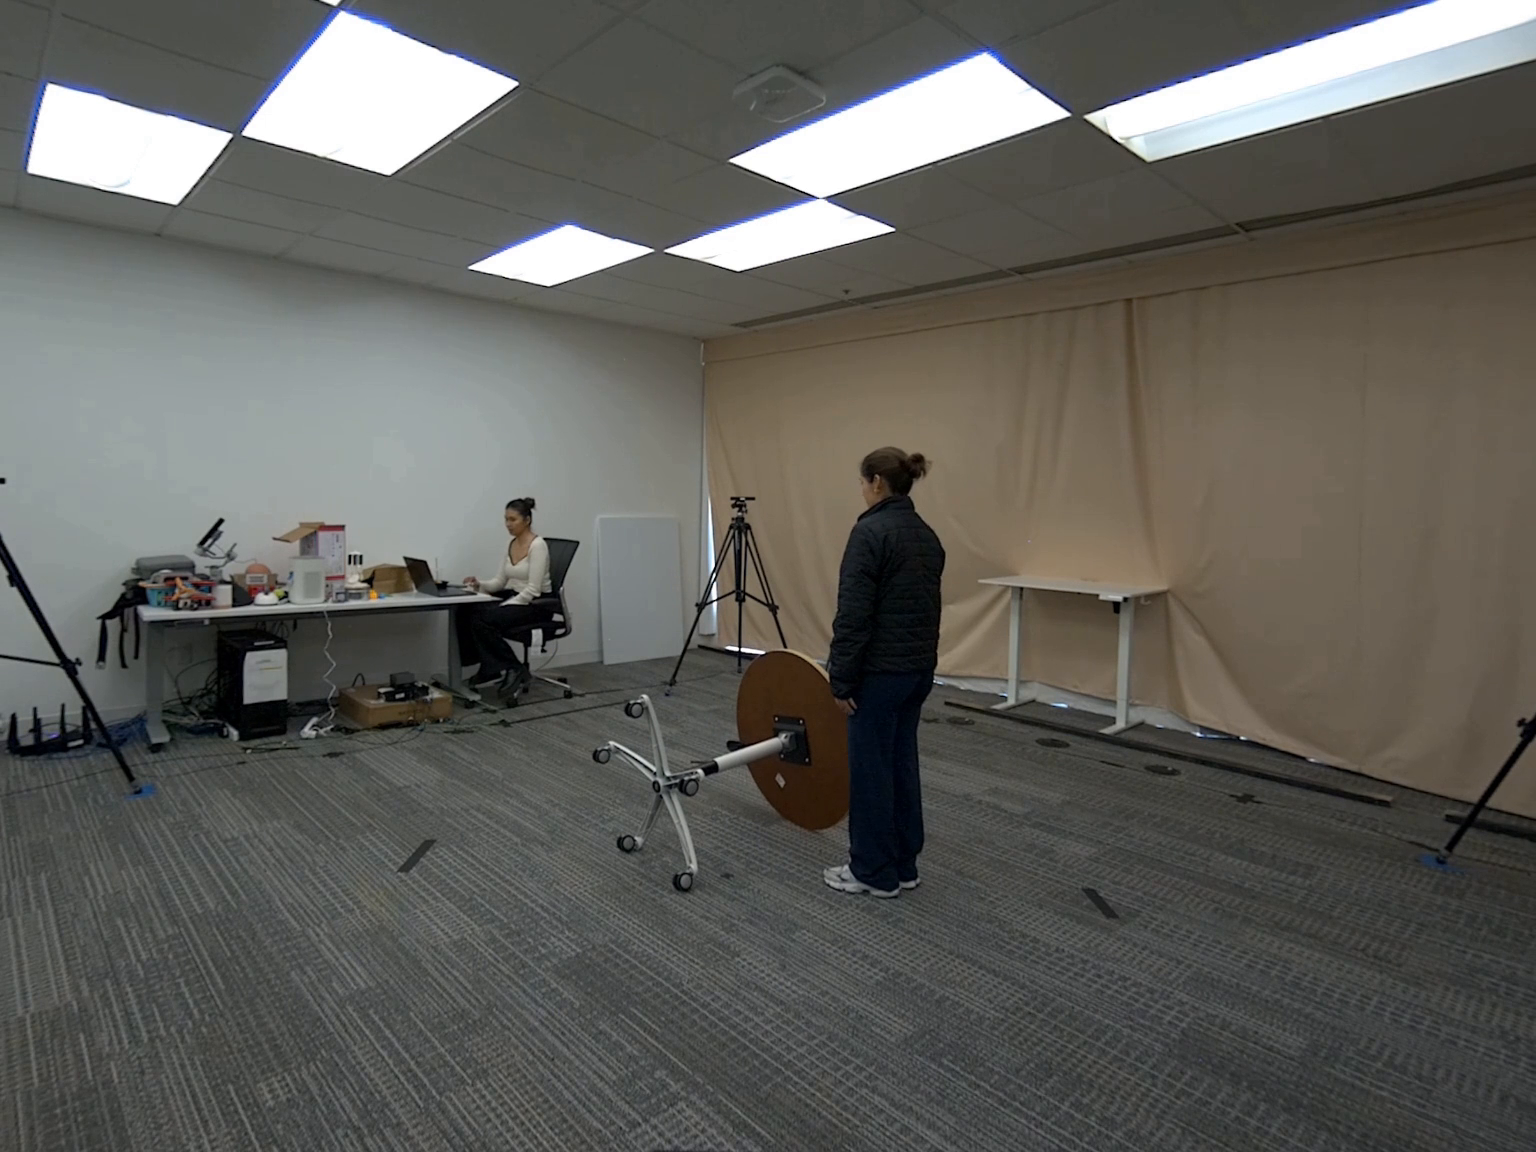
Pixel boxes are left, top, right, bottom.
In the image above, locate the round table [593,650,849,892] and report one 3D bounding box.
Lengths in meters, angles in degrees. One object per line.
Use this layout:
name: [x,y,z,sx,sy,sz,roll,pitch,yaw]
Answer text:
round table: [-0.178,0.744,3.324,0.771,0.780,0.805,-9,10,-40]
